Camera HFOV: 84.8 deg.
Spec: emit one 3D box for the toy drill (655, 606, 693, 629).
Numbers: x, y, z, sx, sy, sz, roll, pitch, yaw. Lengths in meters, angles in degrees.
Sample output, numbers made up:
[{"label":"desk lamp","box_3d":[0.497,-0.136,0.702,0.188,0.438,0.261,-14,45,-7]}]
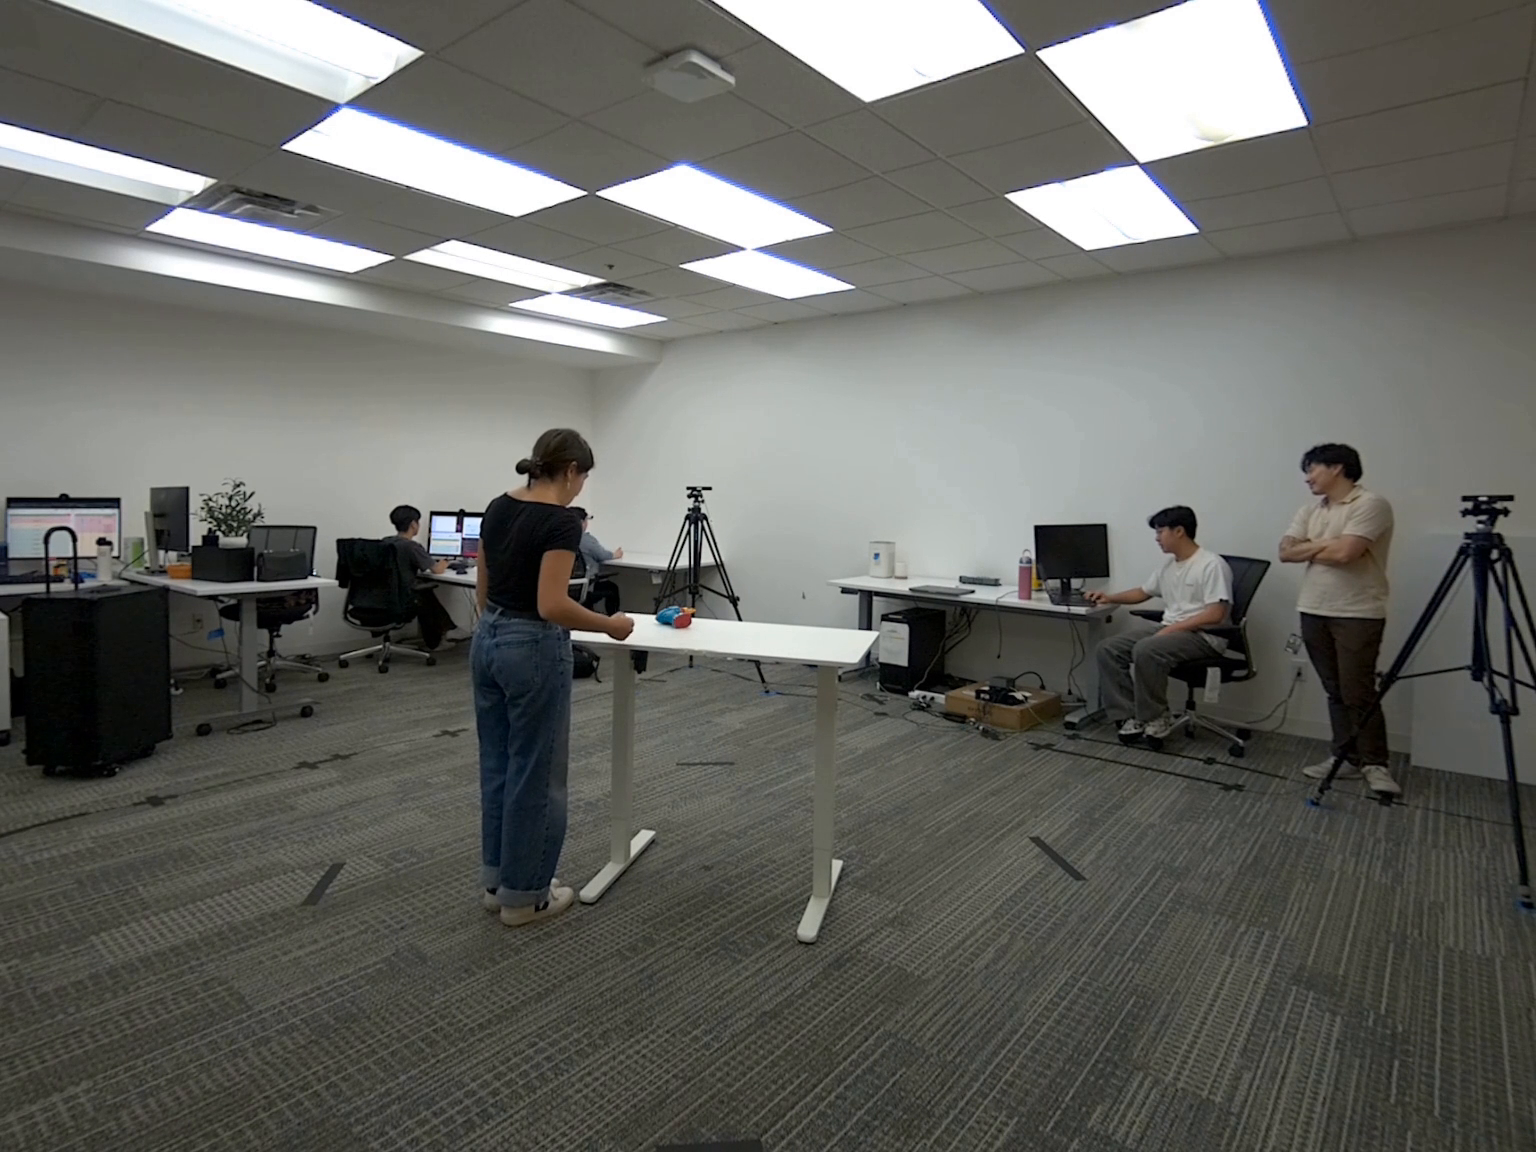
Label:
[{"label":"toy drill","box_3d":[-0.329,0.147,3.126,0.165,0.060,0.151,-10,12,-36]}]
